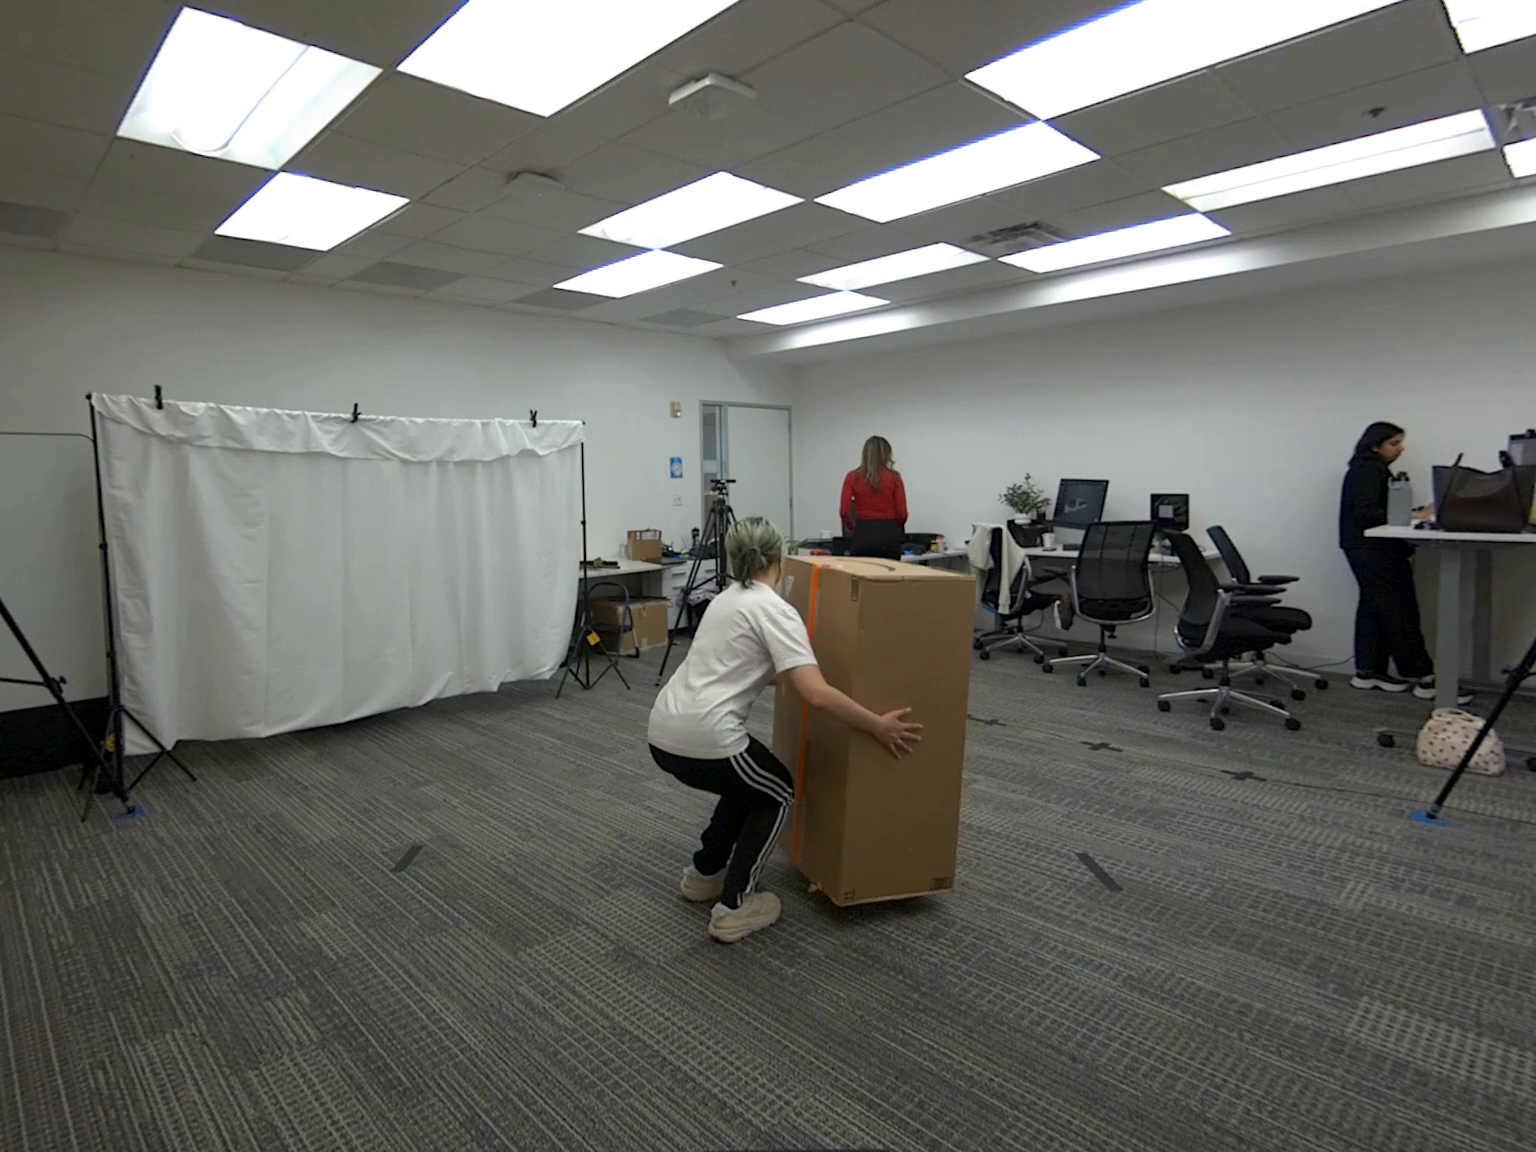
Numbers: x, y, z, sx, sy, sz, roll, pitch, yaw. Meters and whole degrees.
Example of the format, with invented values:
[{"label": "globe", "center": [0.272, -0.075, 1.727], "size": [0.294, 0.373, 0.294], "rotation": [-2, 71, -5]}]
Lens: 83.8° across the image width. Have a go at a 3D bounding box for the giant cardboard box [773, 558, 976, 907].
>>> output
[{"label": "giant cardboard box", "center": [0.330, 0.464, 2.914], "size": [0.437, 1.024, 0.598], "rotation": [2, 4, -23]}]
